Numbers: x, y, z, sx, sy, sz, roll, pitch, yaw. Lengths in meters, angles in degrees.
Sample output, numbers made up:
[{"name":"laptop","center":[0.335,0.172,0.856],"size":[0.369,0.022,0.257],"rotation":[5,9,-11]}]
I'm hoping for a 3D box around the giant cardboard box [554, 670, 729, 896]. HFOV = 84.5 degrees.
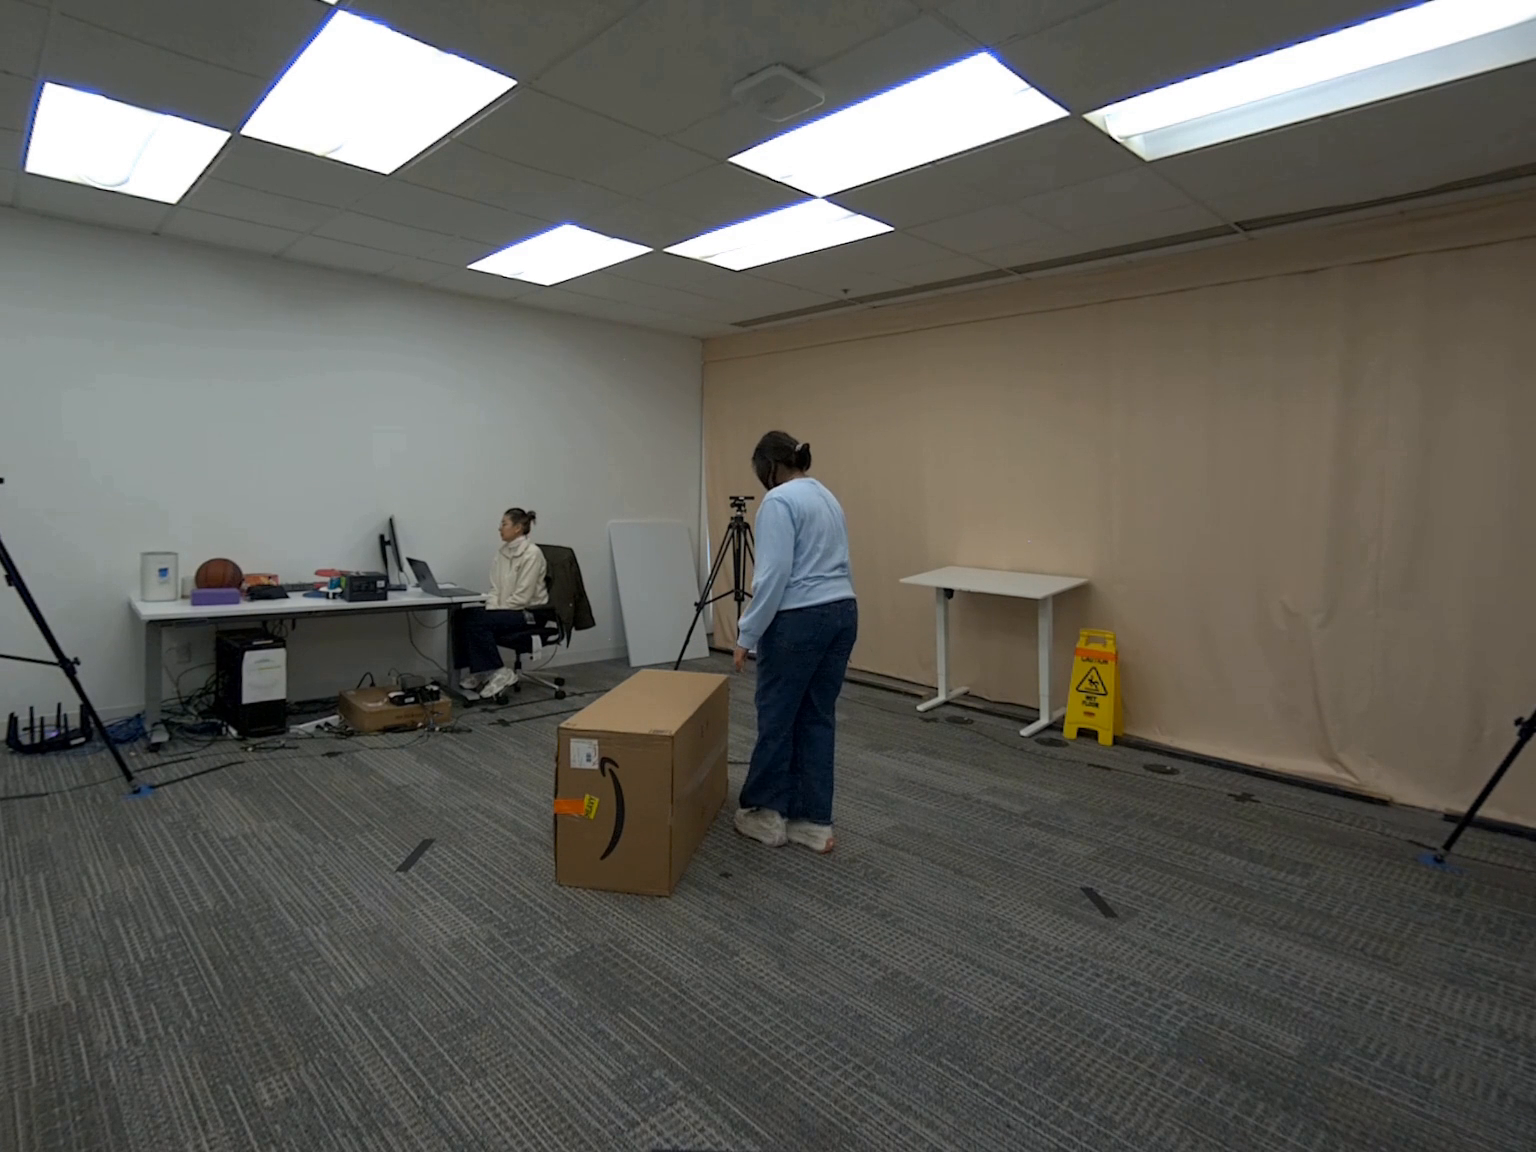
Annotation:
[{"name":"giant cardboard box","center":[-0.477,0.775,3.442],"size":[0.430,0.576,1.020],"rotation":[2,5,9]}]
